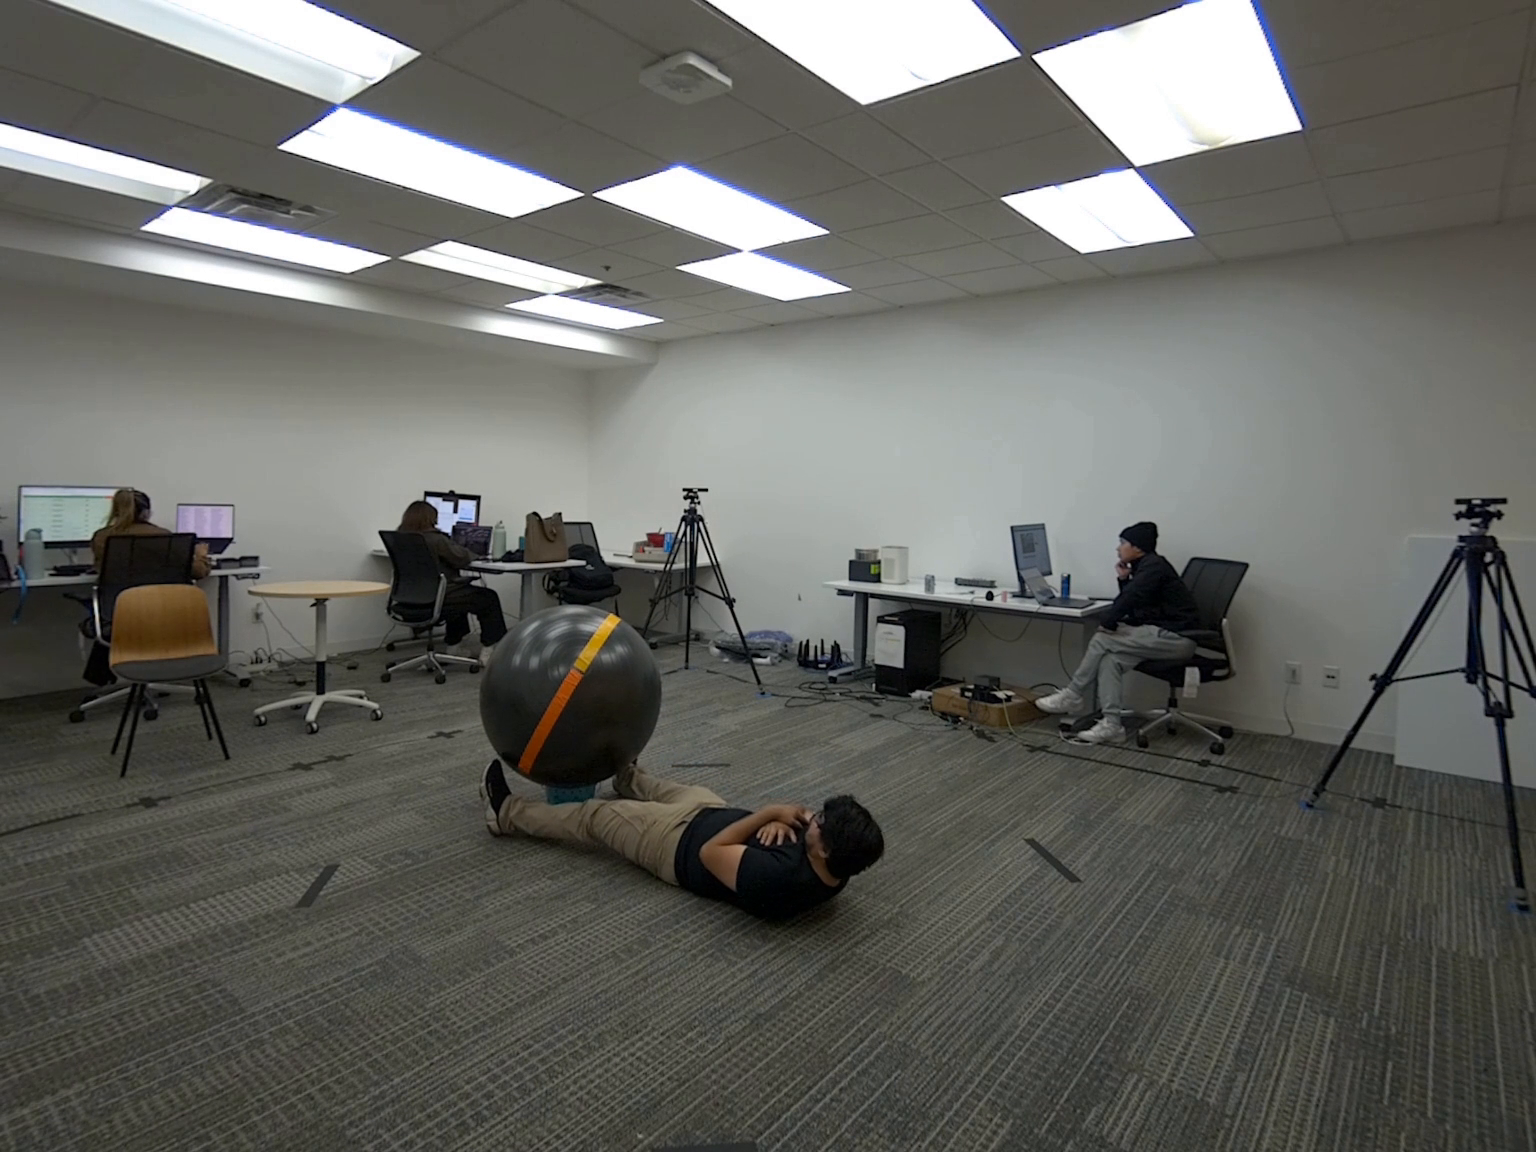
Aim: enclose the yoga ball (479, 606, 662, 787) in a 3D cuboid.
[{"bbox_3d":[-0.842,0.504,3.594,0.757,0.755,0.762,1,4,-2],"label":"yoga ball"}]
